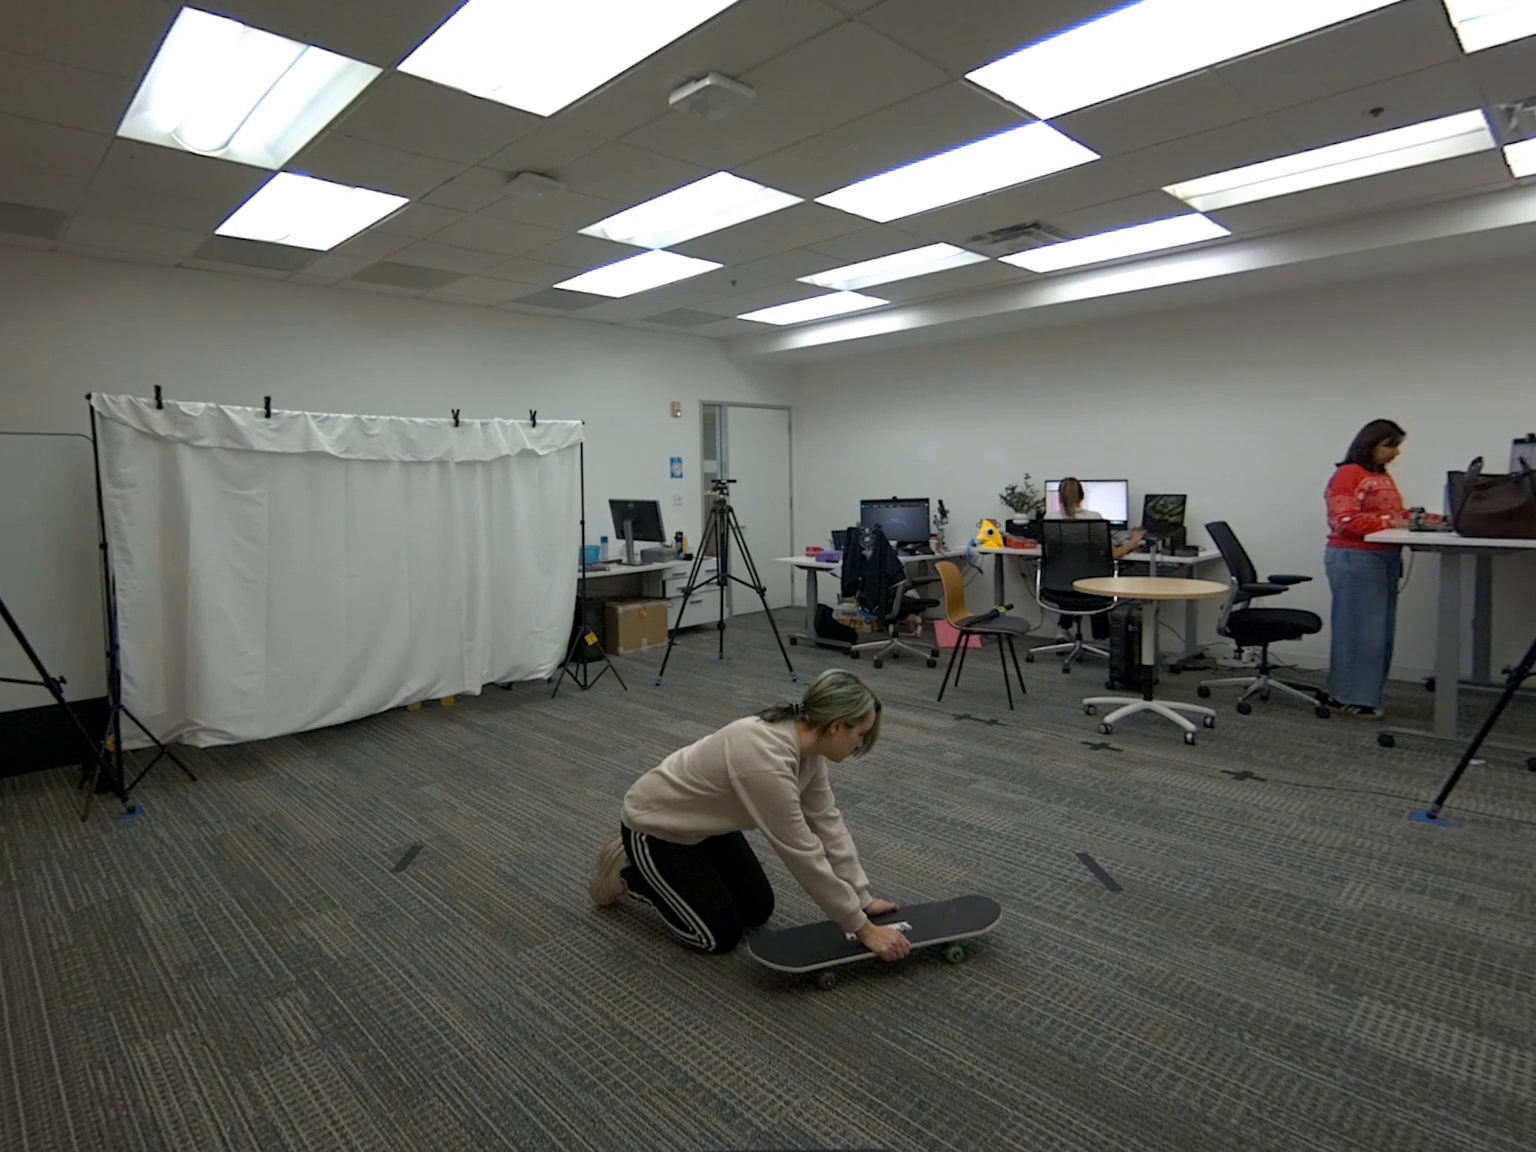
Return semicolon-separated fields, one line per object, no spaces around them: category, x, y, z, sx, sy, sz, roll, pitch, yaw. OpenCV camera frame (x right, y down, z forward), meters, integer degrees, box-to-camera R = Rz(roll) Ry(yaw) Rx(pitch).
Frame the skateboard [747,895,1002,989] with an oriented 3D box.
skateboard;0.319;1.052;2.465;0.774;0.110;0.197;-3;7;-16
